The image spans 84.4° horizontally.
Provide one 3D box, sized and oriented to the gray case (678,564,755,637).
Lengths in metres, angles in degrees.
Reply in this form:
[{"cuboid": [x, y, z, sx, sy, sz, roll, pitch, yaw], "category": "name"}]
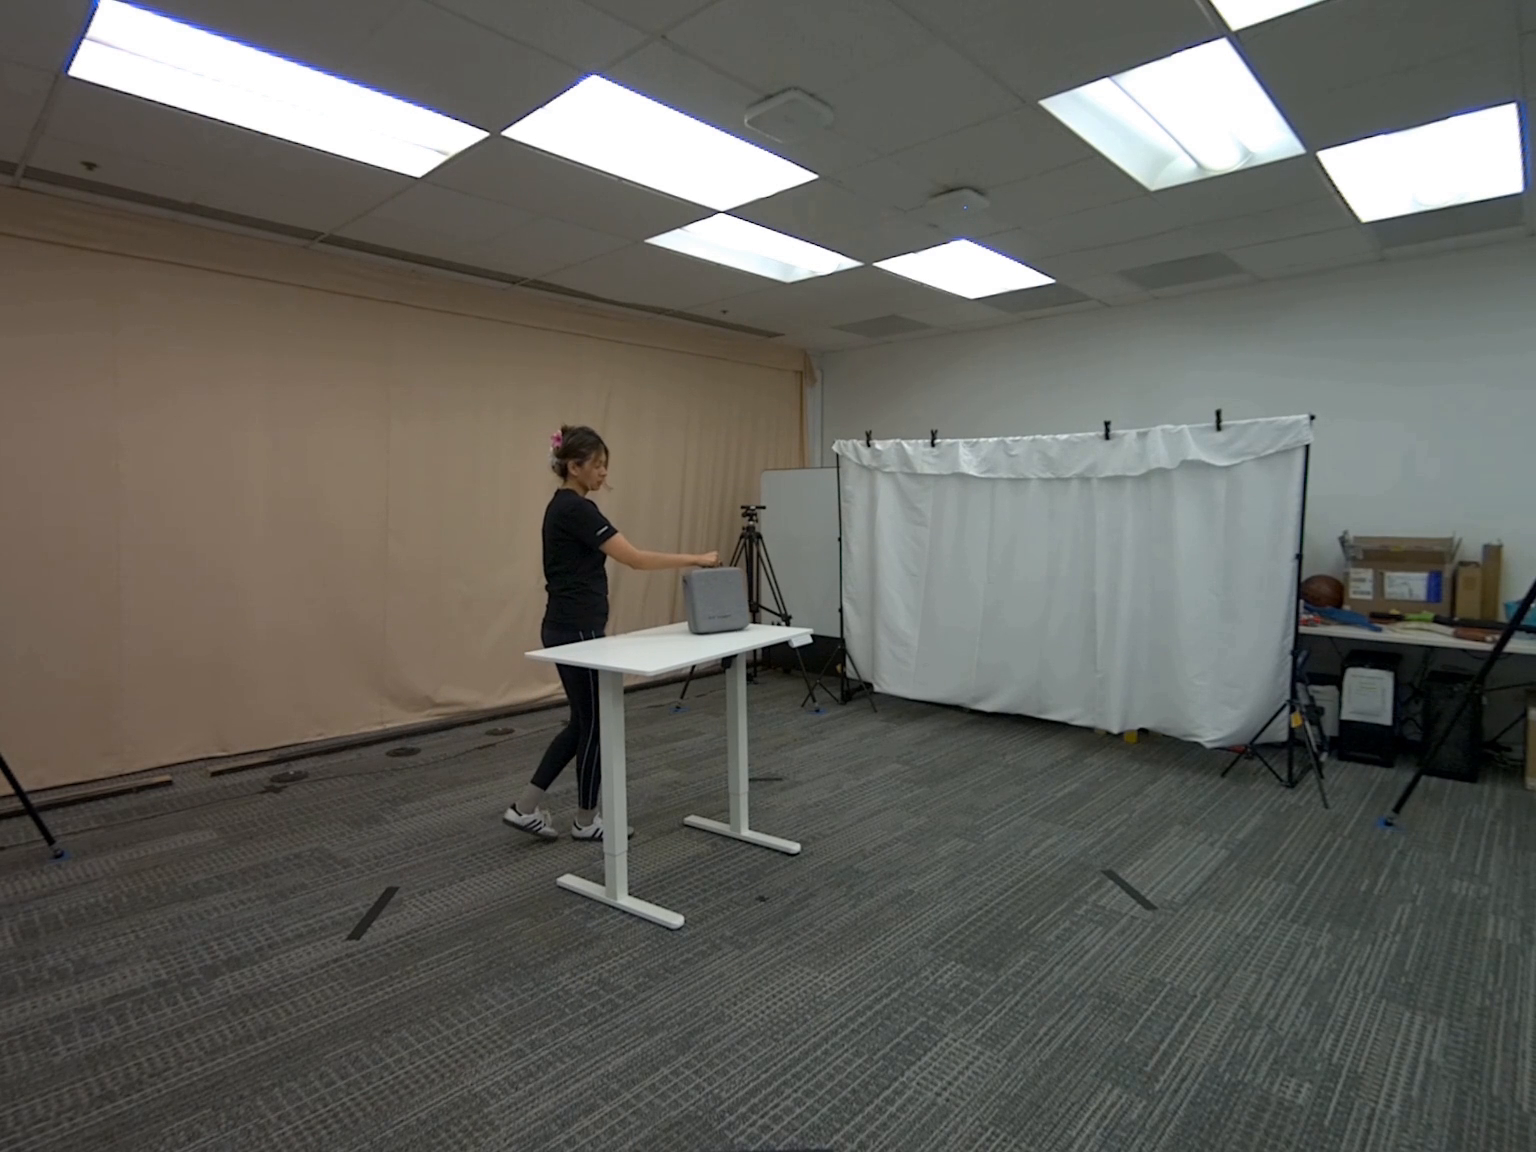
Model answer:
[{"cuboid": [-0.209, 0.093, 3.392, 0.250, 0.262, 0.106, -3, -9, -32], "category": "gray case"}]
